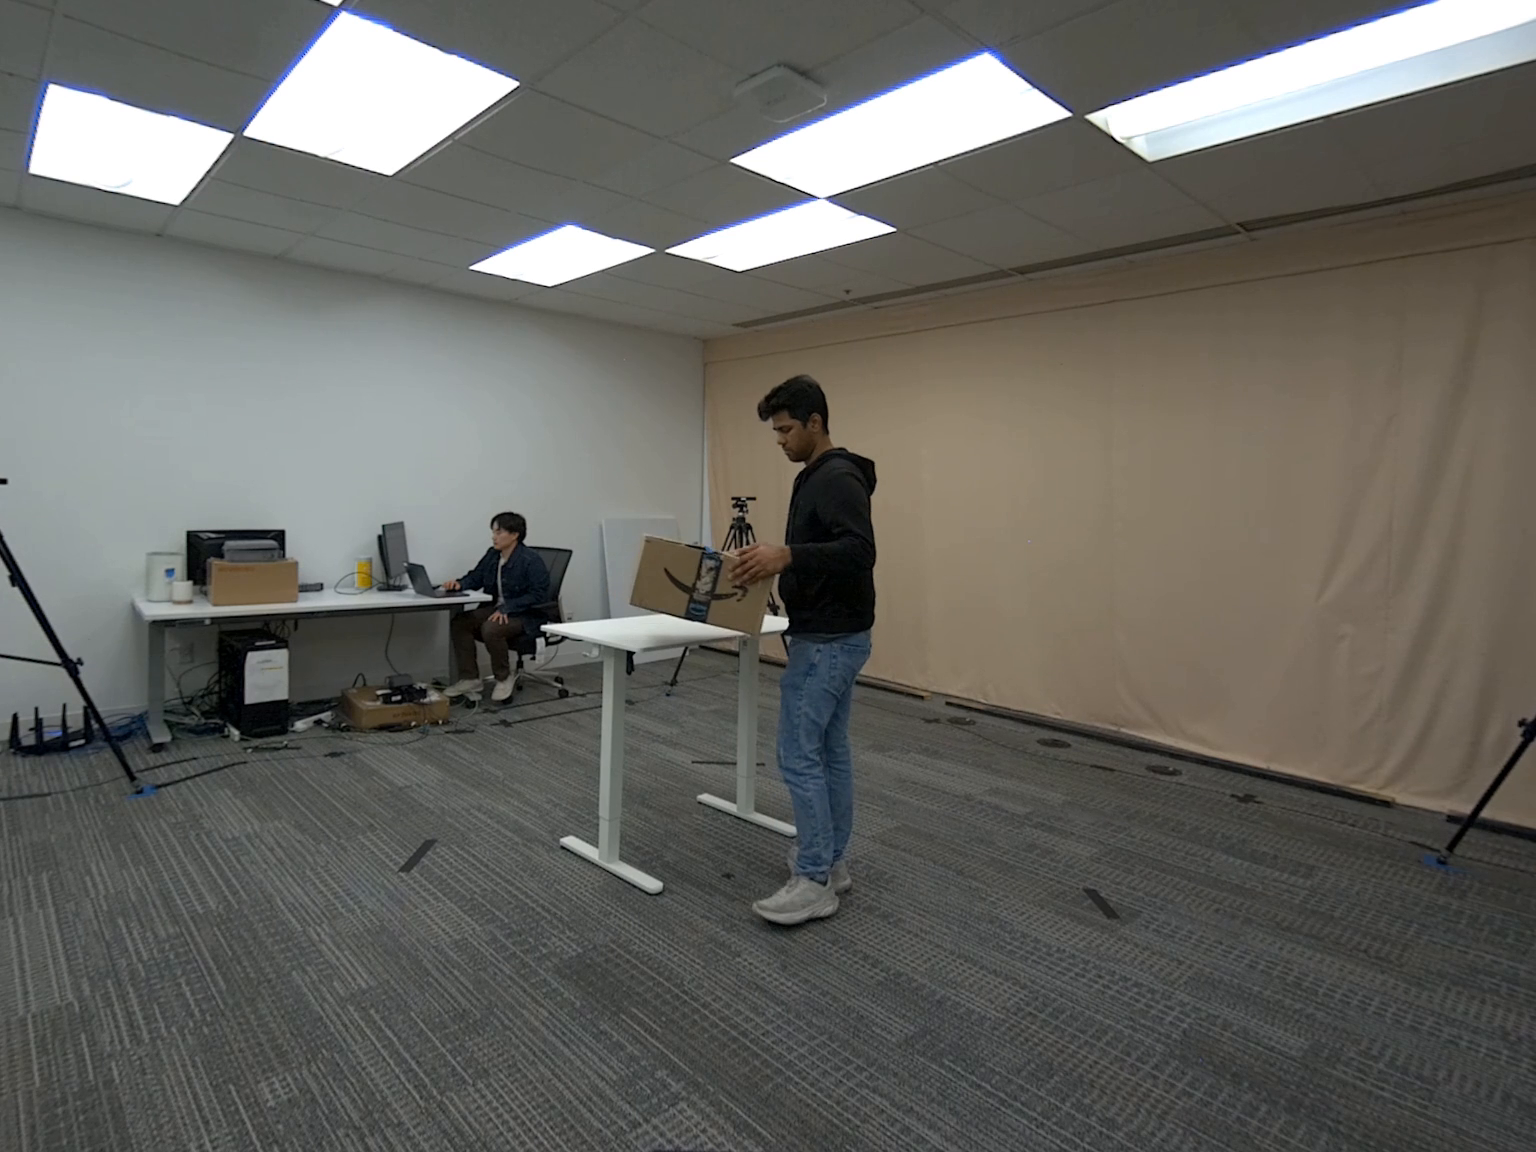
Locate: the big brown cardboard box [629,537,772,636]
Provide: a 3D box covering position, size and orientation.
[{"bbox_3d":[-0.239,0.021,2.837,0.414,0.233,0.594,13,1,-10],"label":"big brown cardboard box"}]
